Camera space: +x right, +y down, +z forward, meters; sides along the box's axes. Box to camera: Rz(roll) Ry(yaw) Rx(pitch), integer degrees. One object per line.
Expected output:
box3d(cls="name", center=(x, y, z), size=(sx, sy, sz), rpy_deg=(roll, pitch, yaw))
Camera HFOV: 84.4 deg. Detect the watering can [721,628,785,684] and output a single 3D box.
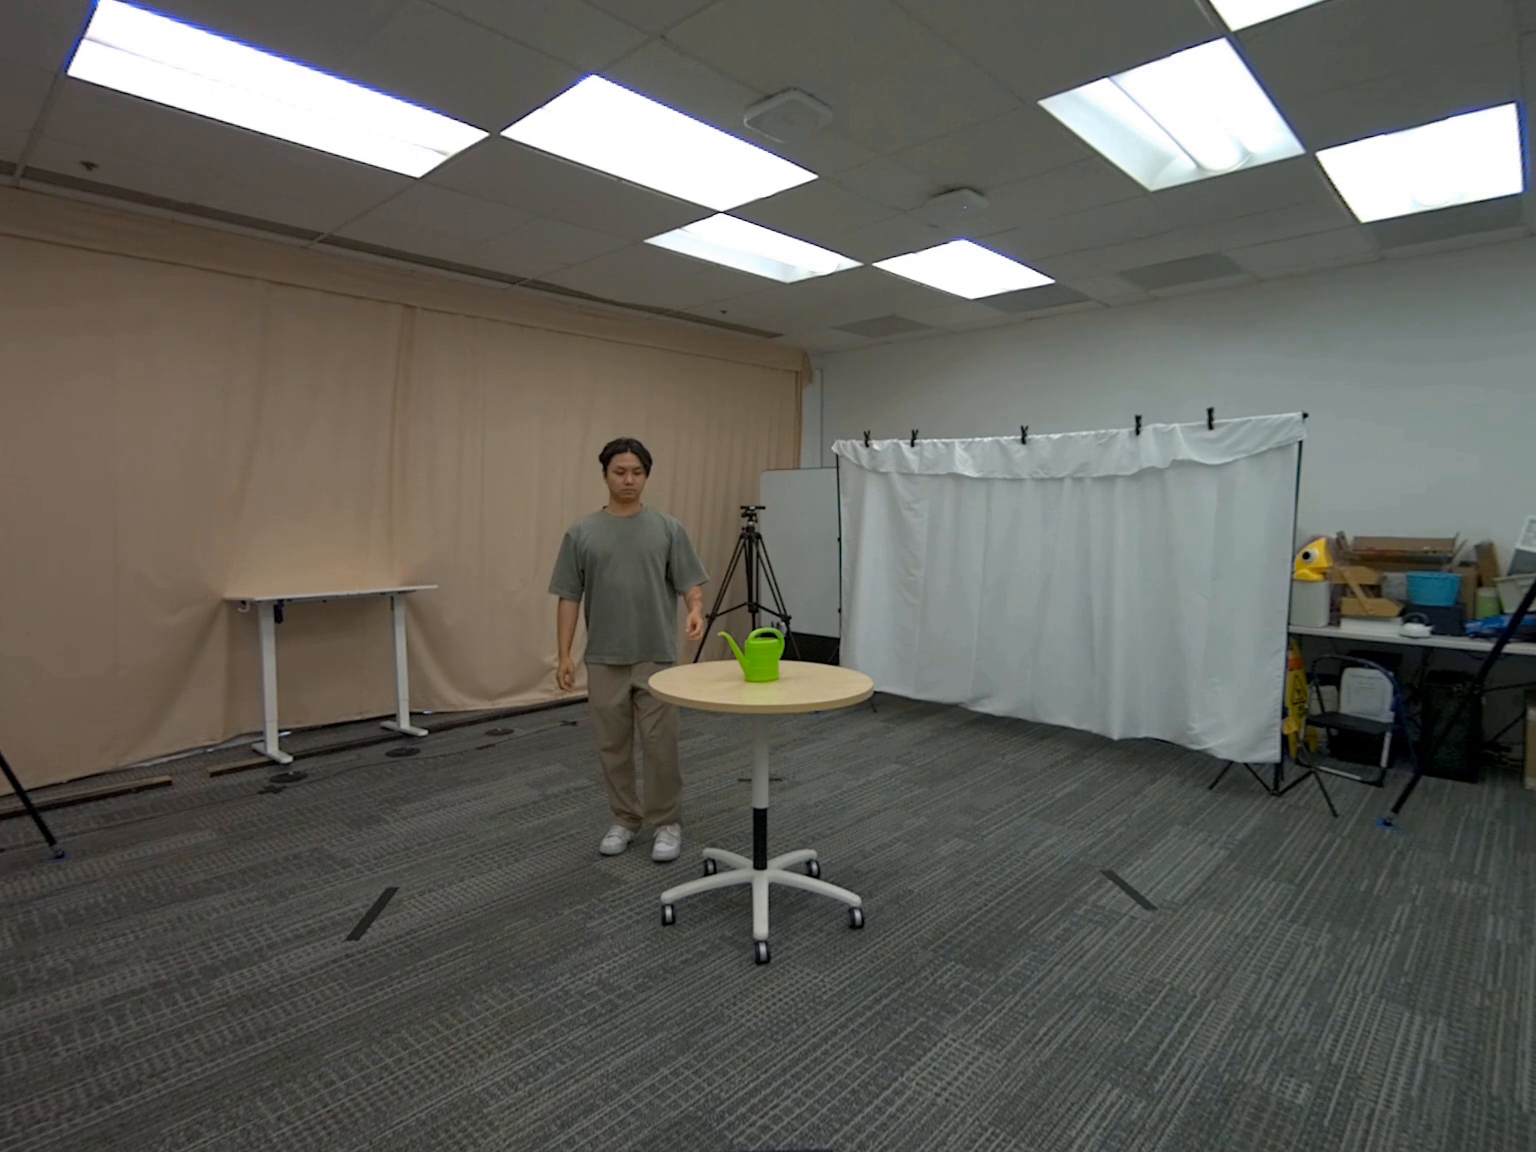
box3d(cls="watering can", center=(-0.058, 0.269, 2.865), size=(0.272, 0.177, 0.100), rpy_deg=(0, 2, -23))
